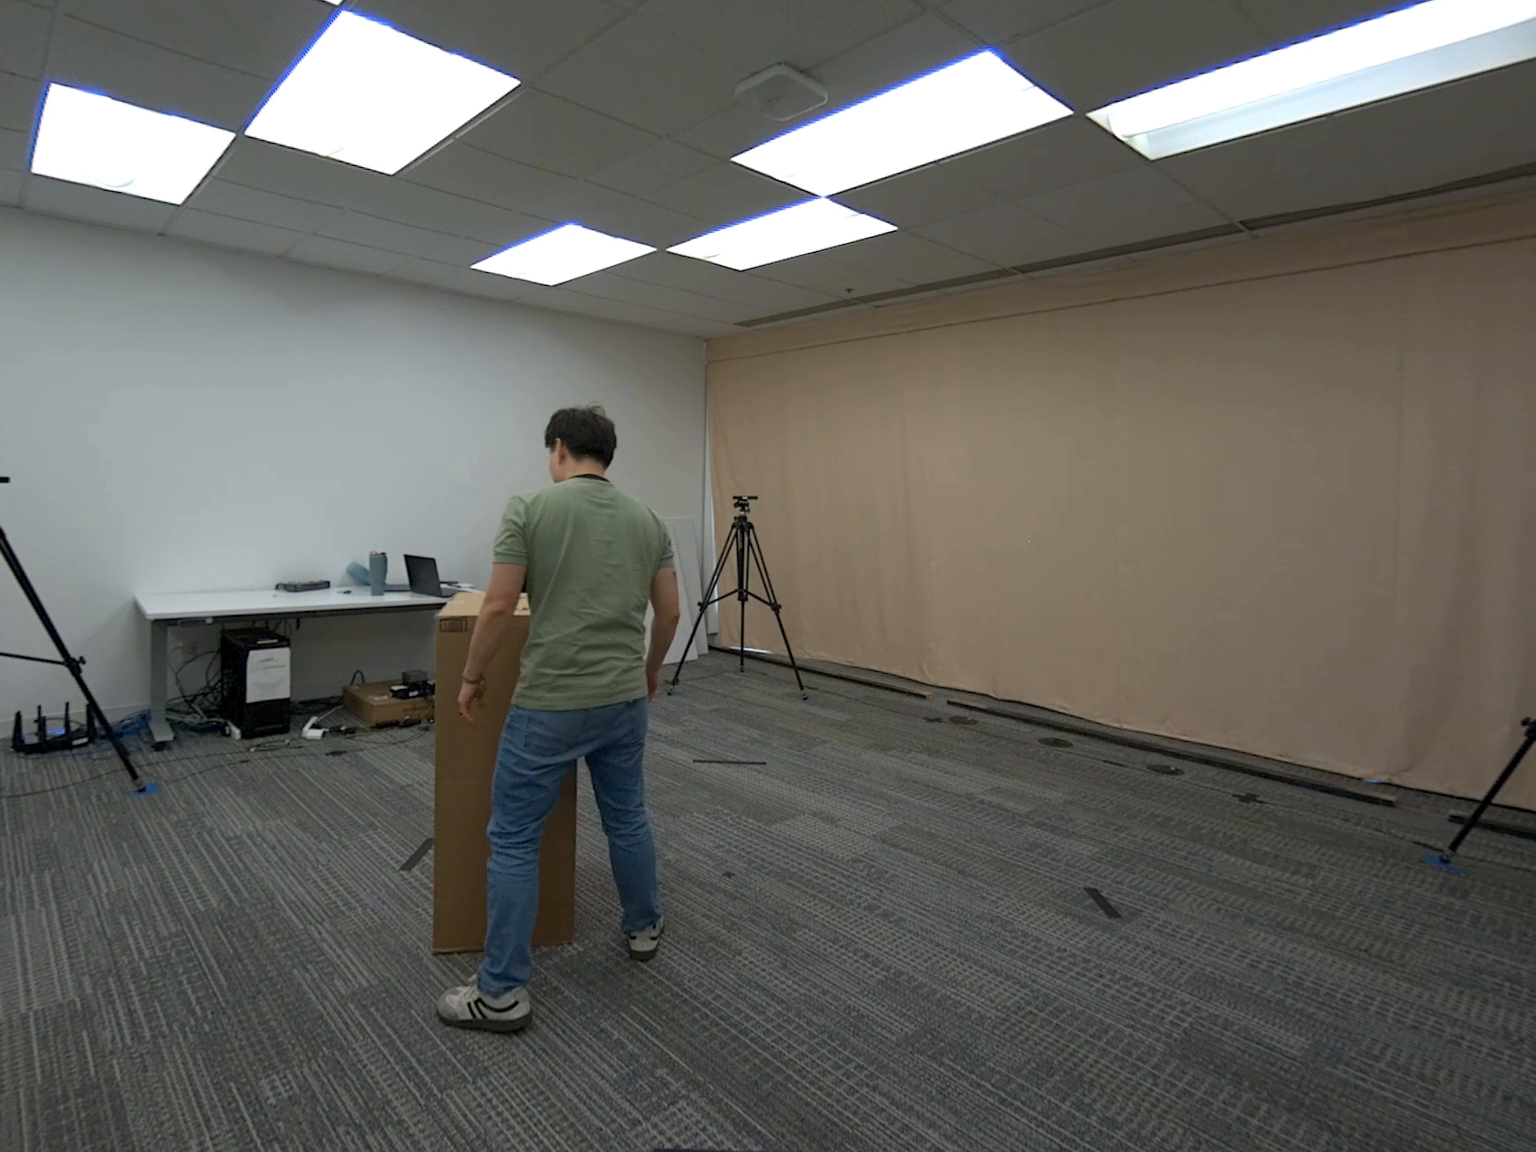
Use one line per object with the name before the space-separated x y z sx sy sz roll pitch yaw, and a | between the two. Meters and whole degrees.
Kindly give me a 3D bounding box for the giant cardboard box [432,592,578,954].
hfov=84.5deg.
giant cardboard box | -0.867 0.602 2.819 0.422 1.023 0.585 1 3 -14
